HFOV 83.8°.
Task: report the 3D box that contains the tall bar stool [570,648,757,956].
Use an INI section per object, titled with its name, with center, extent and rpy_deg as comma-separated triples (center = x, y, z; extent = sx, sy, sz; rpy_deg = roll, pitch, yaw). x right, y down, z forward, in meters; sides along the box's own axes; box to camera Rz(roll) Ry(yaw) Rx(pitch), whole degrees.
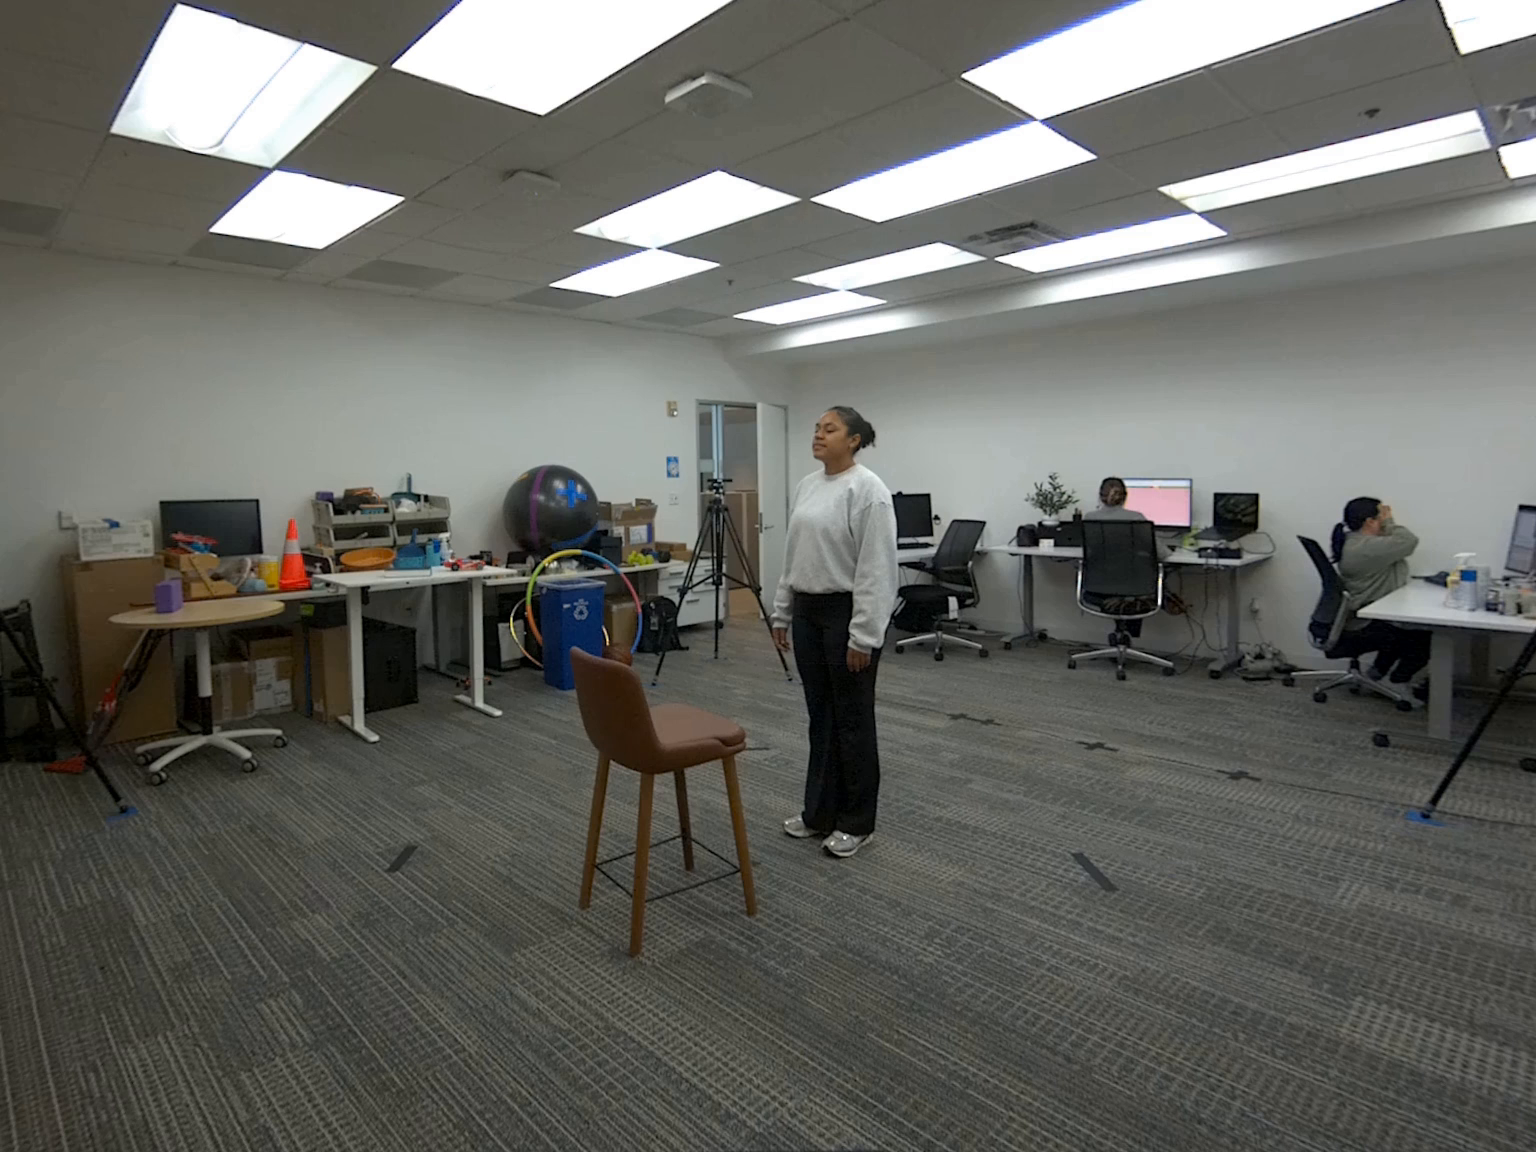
[tall bar stool]
center = -0.344, 0.655, 2.757
extent = 0.456, 0.885, 0.470
rpy_deg = -7, 7, -36
